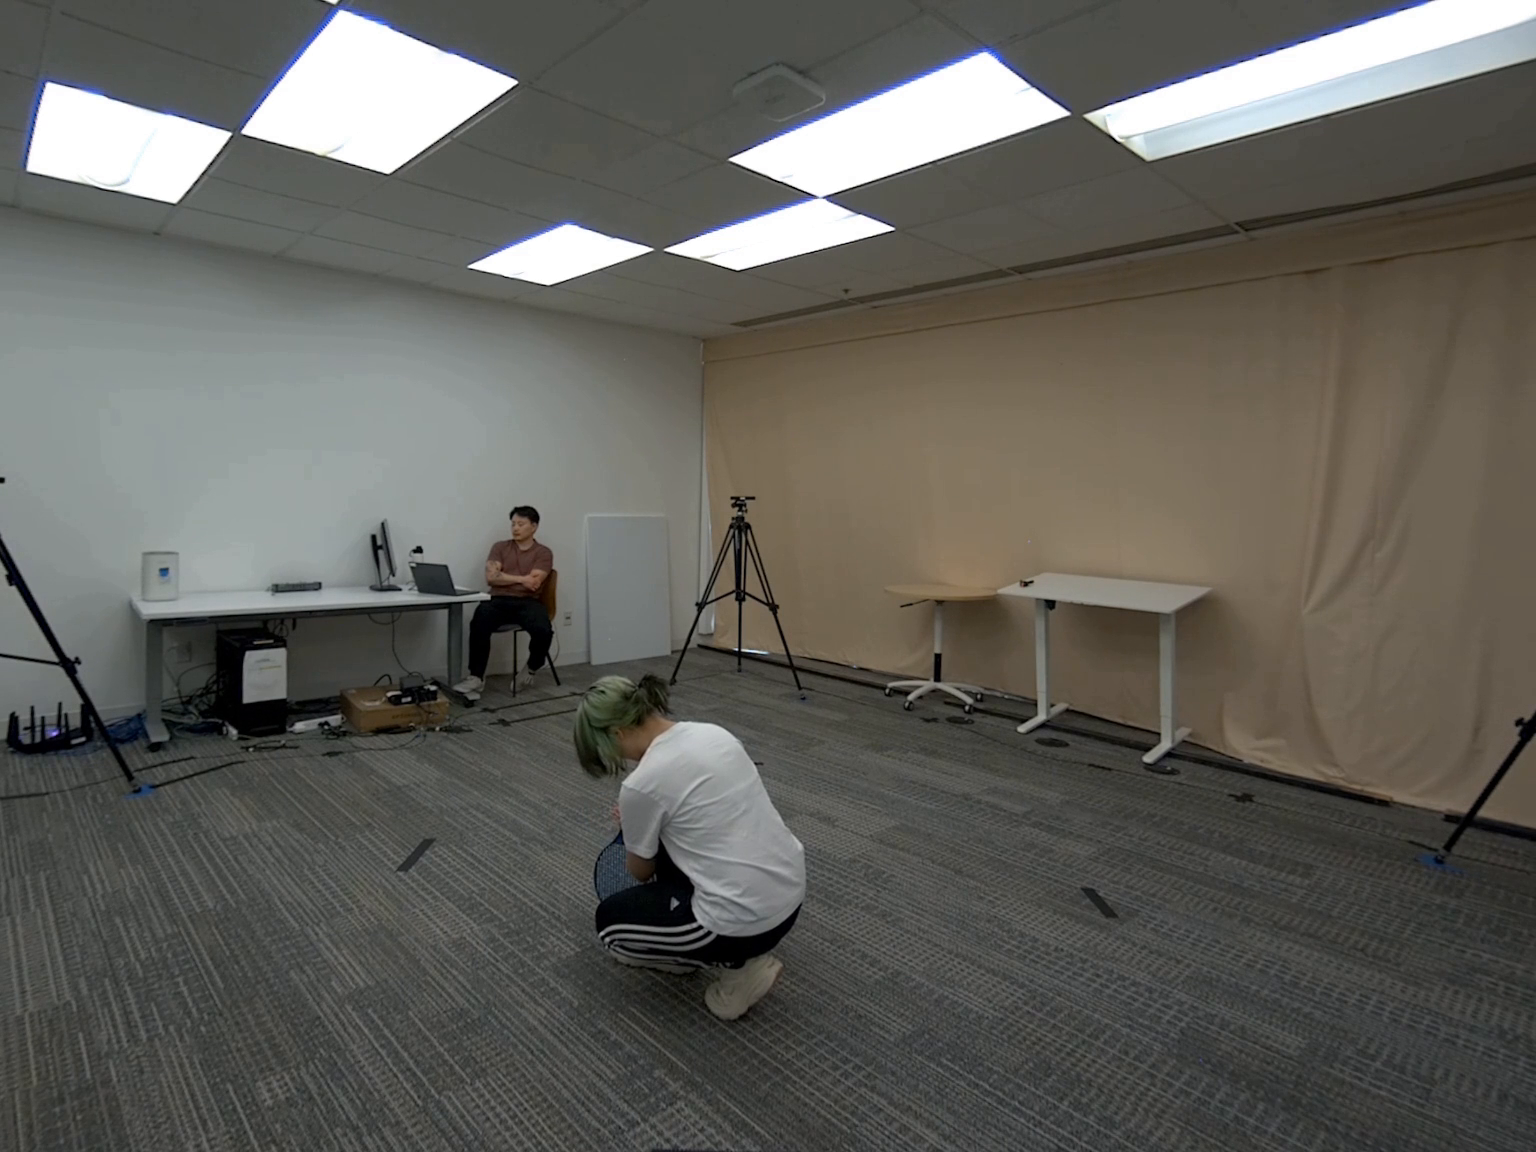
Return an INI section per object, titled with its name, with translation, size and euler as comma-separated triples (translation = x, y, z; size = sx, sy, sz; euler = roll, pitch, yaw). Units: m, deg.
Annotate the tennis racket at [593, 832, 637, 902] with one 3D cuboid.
[tennis racket]
translation = -0.474, 0.917, 2.729
size = 0.217, 0.431, 0.031
euler = 5, 7, 17
